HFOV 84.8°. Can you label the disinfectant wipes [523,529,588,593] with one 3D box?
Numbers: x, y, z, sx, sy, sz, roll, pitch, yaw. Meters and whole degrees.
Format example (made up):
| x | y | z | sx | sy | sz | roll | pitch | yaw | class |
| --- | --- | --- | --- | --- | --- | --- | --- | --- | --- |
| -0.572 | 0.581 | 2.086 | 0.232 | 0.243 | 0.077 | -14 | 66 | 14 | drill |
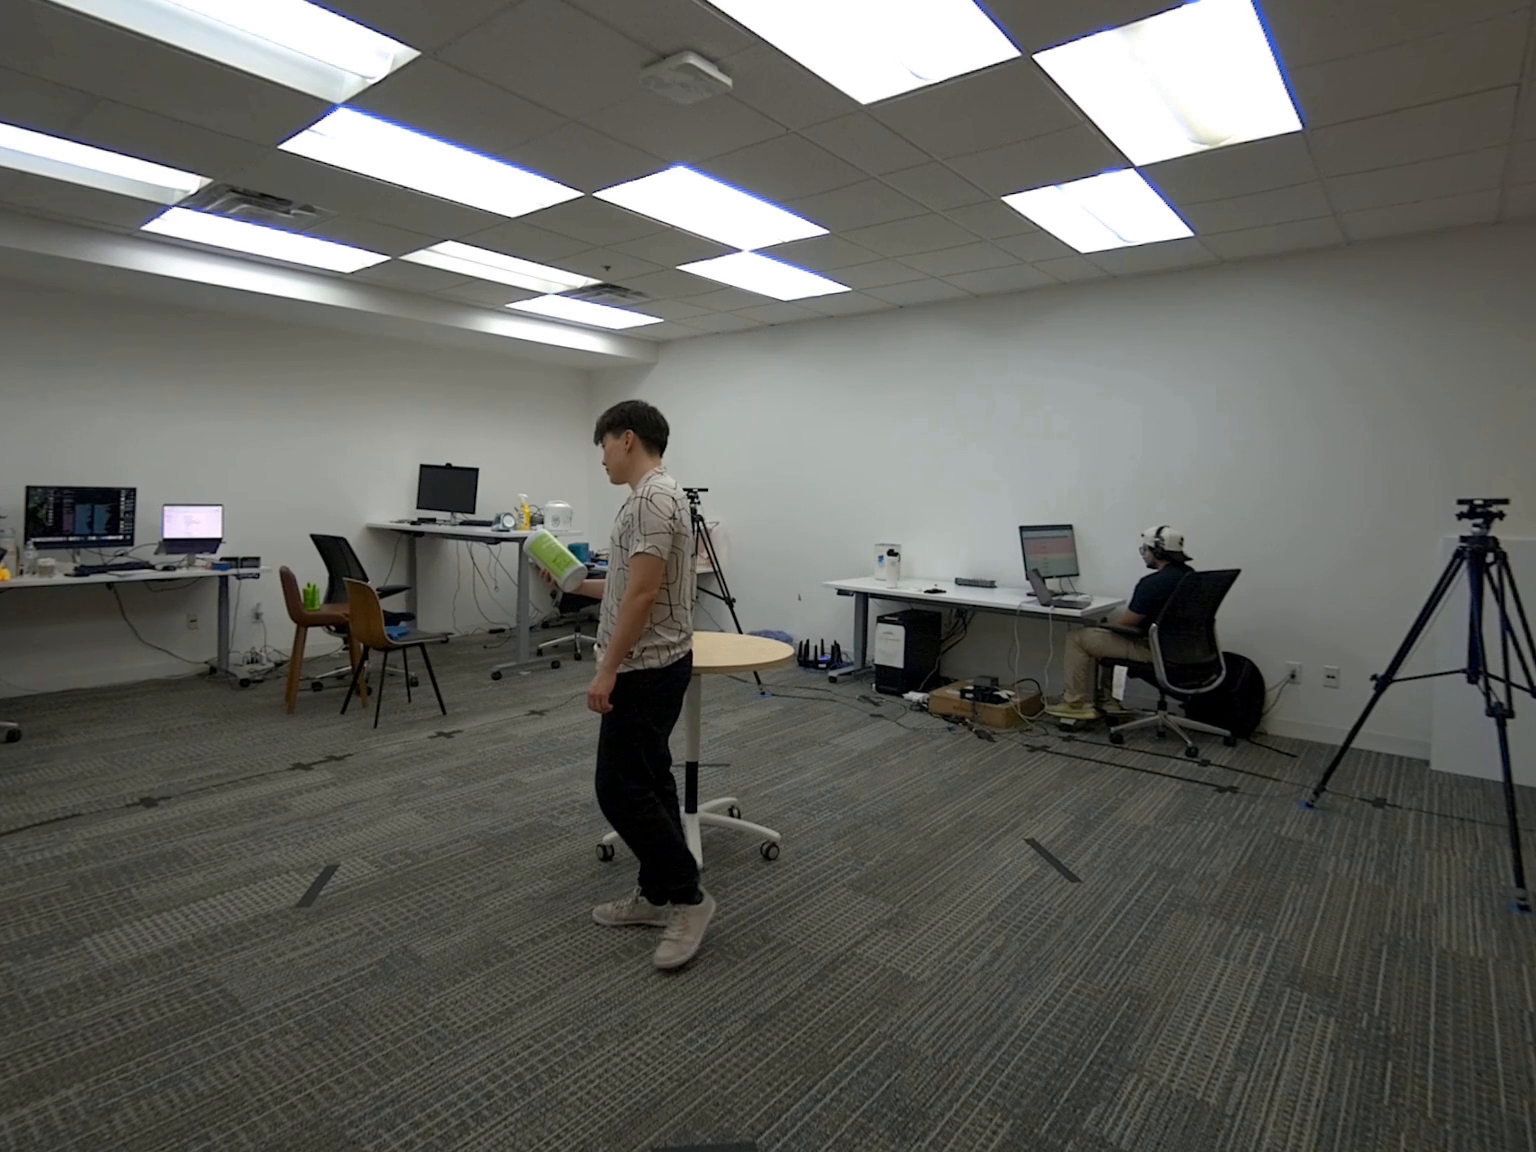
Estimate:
| x | y | z | sx | sy | sz | roll | pitch | yaw | class |
| --- | --- | --- | --- | --- | --- | --- | --- | --- | --- |
| -0.723 | -0.059 | 2.851 | 0.223 | 0.117 | 0.115 | 39 | 17 | 18 | disinfectant wipes |
